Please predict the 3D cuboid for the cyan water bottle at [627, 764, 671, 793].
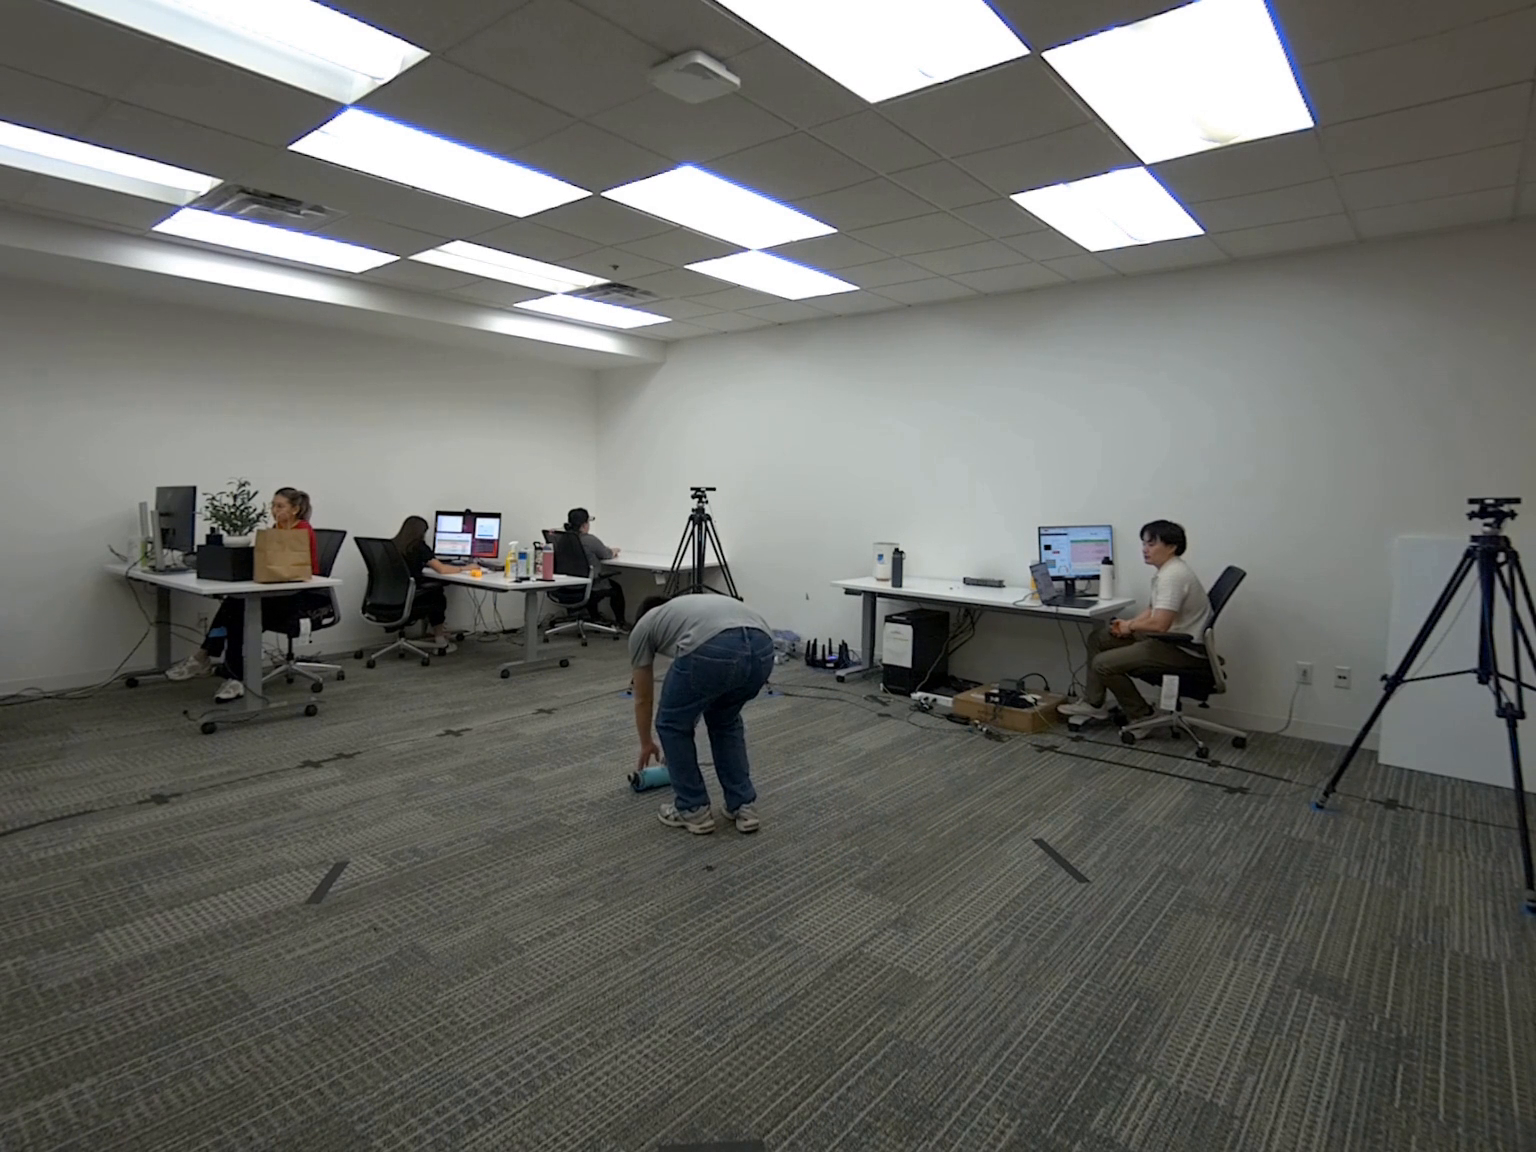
[{"bbox_3d":[-0.524,0.929,3.948,0.275,0.092,0.095,-3,6,-34],"label":"cyan water bottle"}]
